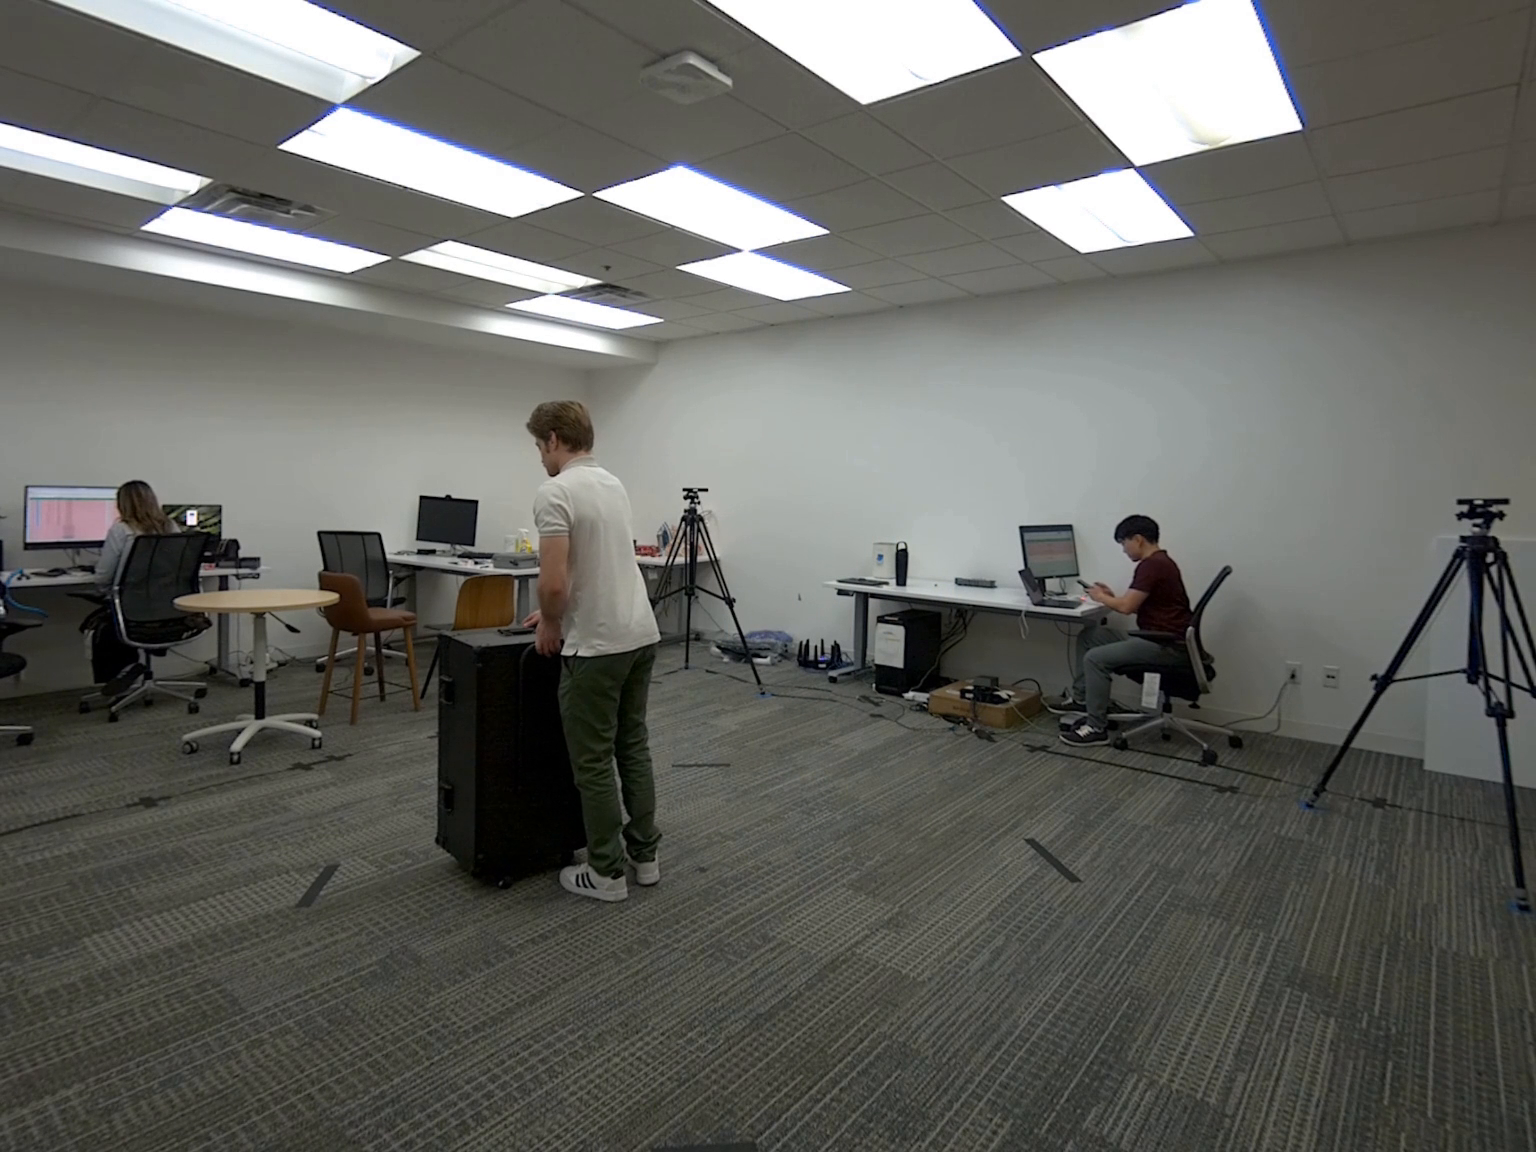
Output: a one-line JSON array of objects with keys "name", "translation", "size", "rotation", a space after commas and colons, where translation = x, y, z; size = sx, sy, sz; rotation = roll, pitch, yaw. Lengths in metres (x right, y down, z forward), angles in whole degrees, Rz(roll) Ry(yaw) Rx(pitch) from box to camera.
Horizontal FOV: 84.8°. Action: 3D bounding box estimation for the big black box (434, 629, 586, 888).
[{"name": "big black box", "translation": [-0.924, 0.637, 3.122], "size": [0.507, 0.866, 0.398], "rotation": [-1, 4, -40]}]
